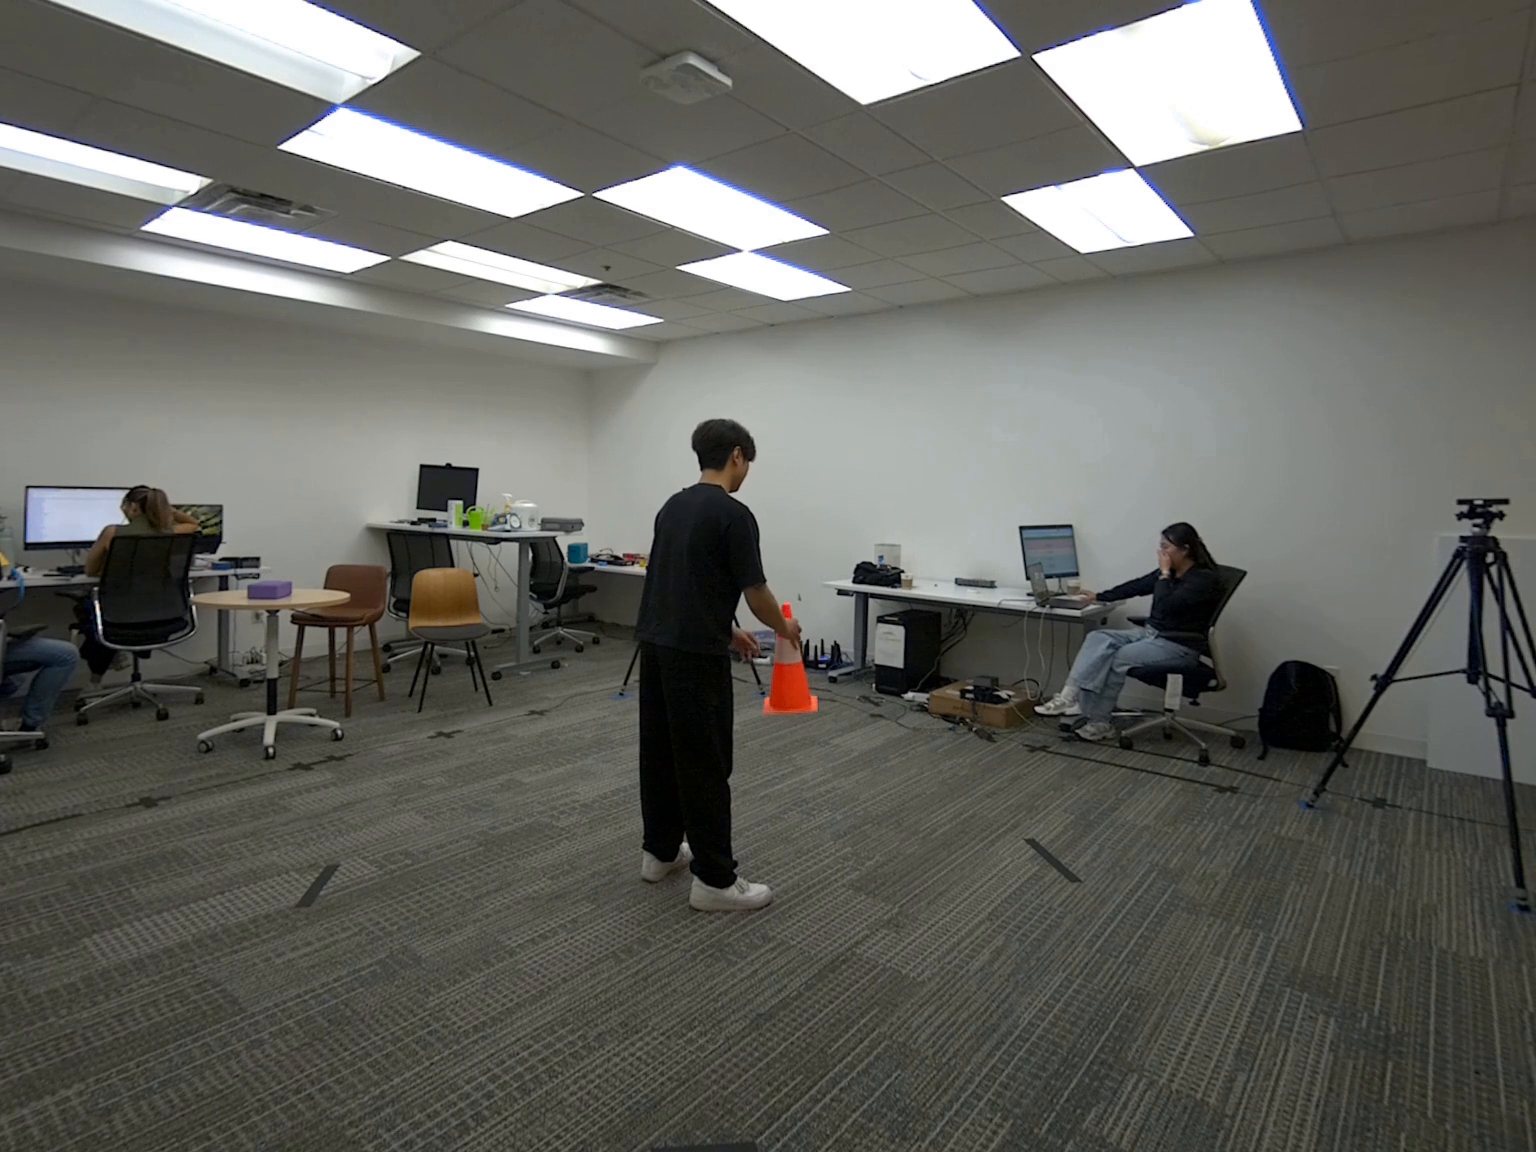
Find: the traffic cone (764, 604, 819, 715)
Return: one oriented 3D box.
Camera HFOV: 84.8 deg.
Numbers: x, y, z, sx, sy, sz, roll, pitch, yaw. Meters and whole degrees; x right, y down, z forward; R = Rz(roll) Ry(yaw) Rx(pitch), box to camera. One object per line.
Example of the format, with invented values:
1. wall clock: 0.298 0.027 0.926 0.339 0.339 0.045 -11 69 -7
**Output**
1. traffic cone: 0.063 0.289 3.150 0.206 0.381 0.203 1 6 13
